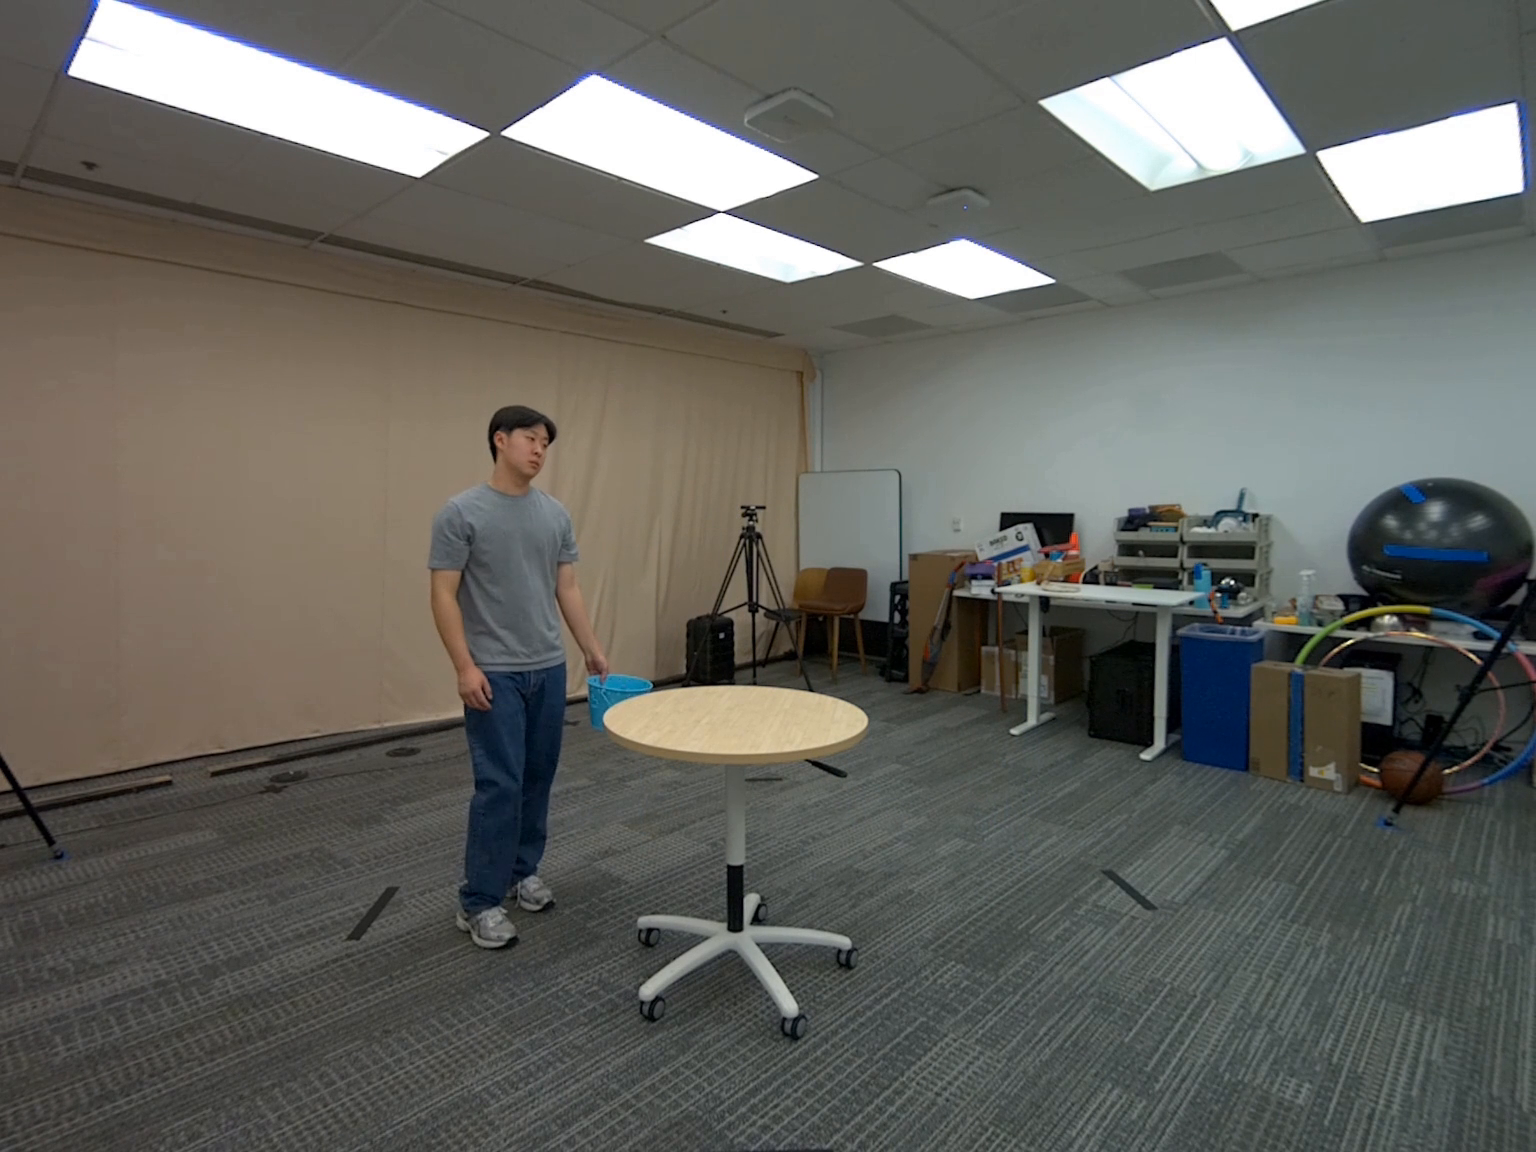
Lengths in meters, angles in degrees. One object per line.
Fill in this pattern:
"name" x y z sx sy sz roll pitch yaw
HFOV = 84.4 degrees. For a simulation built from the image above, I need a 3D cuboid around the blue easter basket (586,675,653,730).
"blue easter basket" -0.541 0.455 2.956 0.243 0.155 0.244 4 5 -2
